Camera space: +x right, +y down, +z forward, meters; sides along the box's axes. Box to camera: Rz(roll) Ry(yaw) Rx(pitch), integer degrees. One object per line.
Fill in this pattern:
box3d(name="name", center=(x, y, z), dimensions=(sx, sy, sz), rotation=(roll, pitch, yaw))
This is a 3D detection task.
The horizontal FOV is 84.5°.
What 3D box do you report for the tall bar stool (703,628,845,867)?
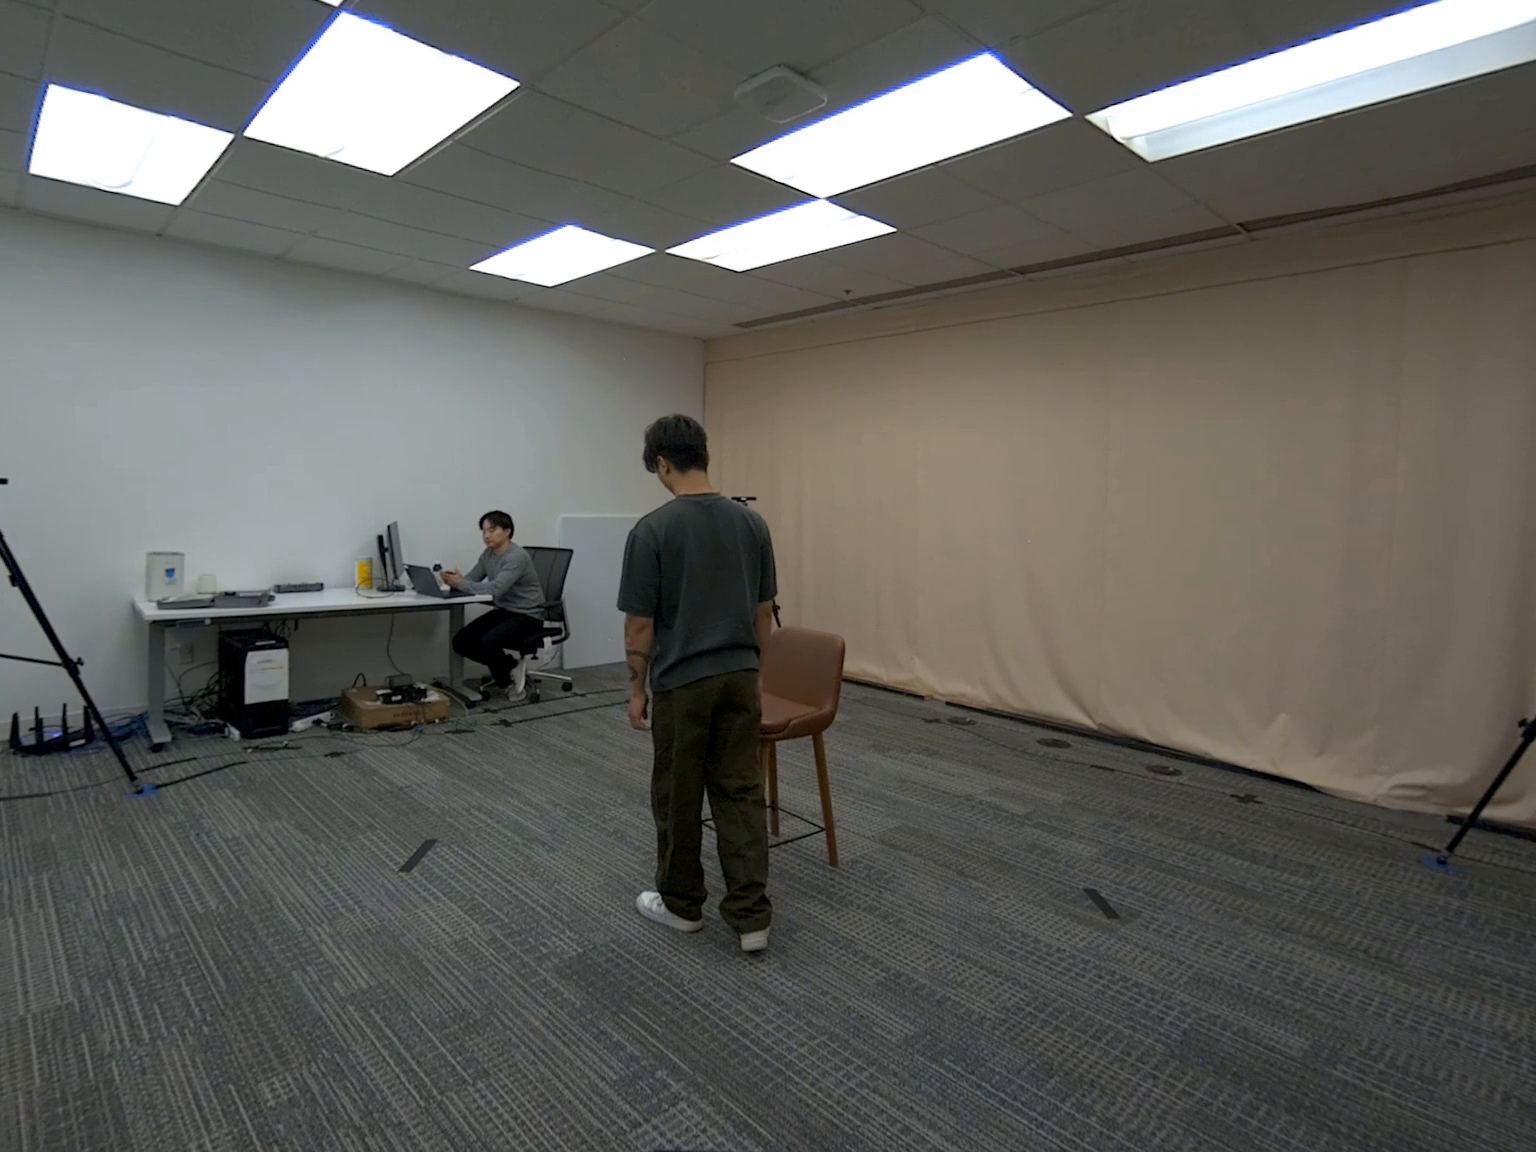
box3d(name="tall bar stool", center=(-0.007, 0.664, 3.213), dimensions=(0.456, 0.888, 0.468), rotation=(1, 2, -39))
